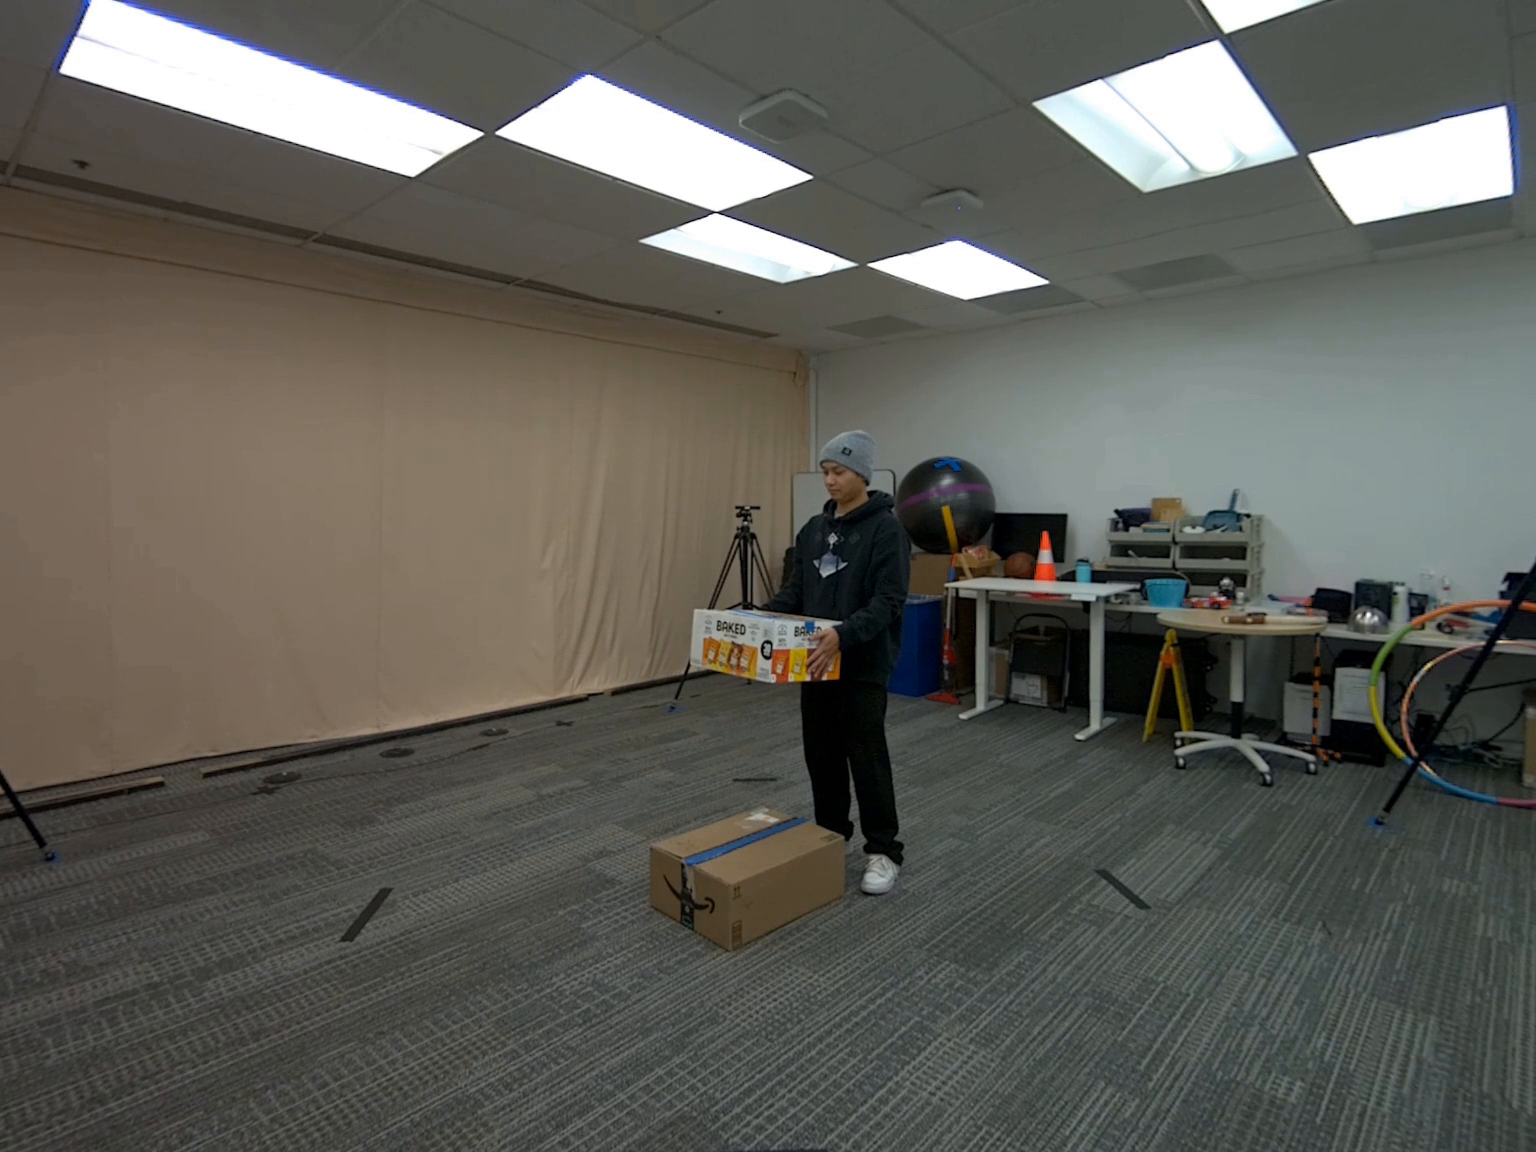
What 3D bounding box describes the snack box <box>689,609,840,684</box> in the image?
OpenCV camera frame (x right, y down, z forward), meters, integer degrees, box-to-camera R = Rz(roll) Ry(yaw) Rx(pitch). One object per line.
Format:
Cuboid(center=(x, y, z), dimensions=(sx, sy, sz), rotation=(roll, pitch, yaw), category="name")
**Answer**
Cuboid(center=(-0.008, 0.240, 2.965), dimensions=(0.329, 0.206, 0.419), rotation=(5, 0, -42), category="snack box")
